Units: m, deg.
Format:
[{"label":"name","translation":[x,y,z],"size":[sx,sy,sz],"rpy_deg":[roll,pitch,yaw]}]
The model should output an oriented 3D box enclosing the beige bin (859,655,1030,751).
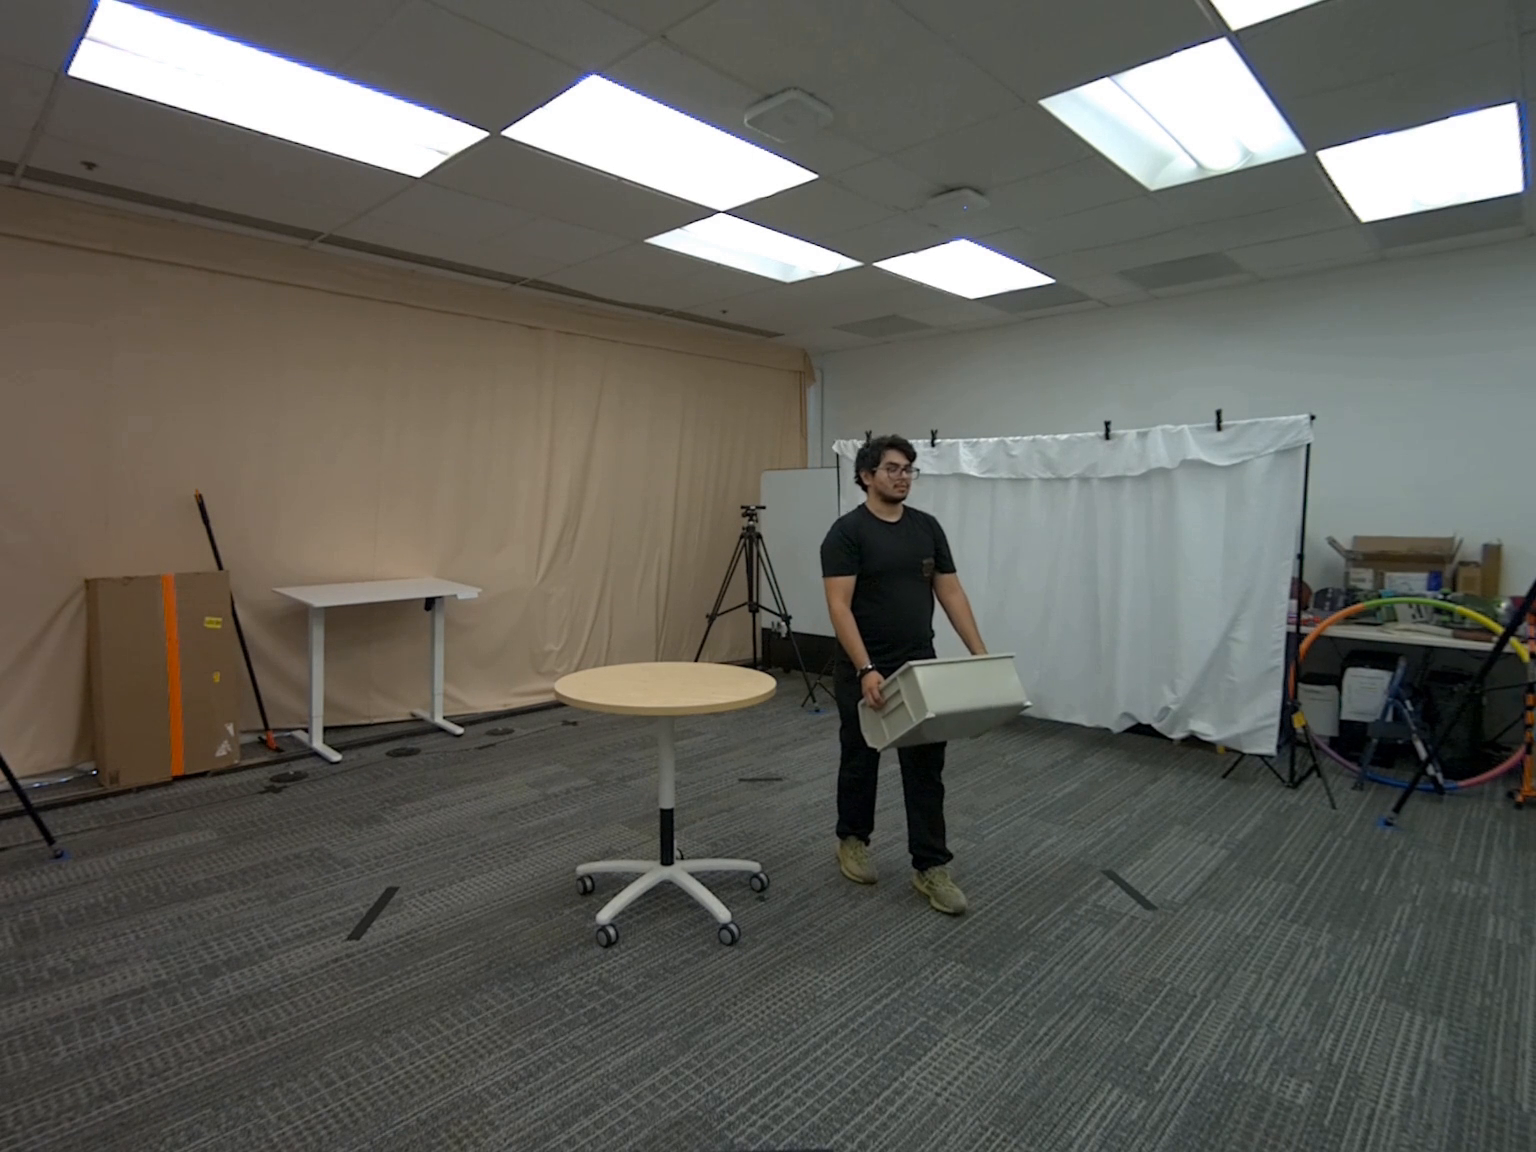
[{"label":"beige bin","translation":[0.576,0.423,2.782],"size":[0.412,0.193,0.379],"rpy_deg":[-1,-28,-25]}]
